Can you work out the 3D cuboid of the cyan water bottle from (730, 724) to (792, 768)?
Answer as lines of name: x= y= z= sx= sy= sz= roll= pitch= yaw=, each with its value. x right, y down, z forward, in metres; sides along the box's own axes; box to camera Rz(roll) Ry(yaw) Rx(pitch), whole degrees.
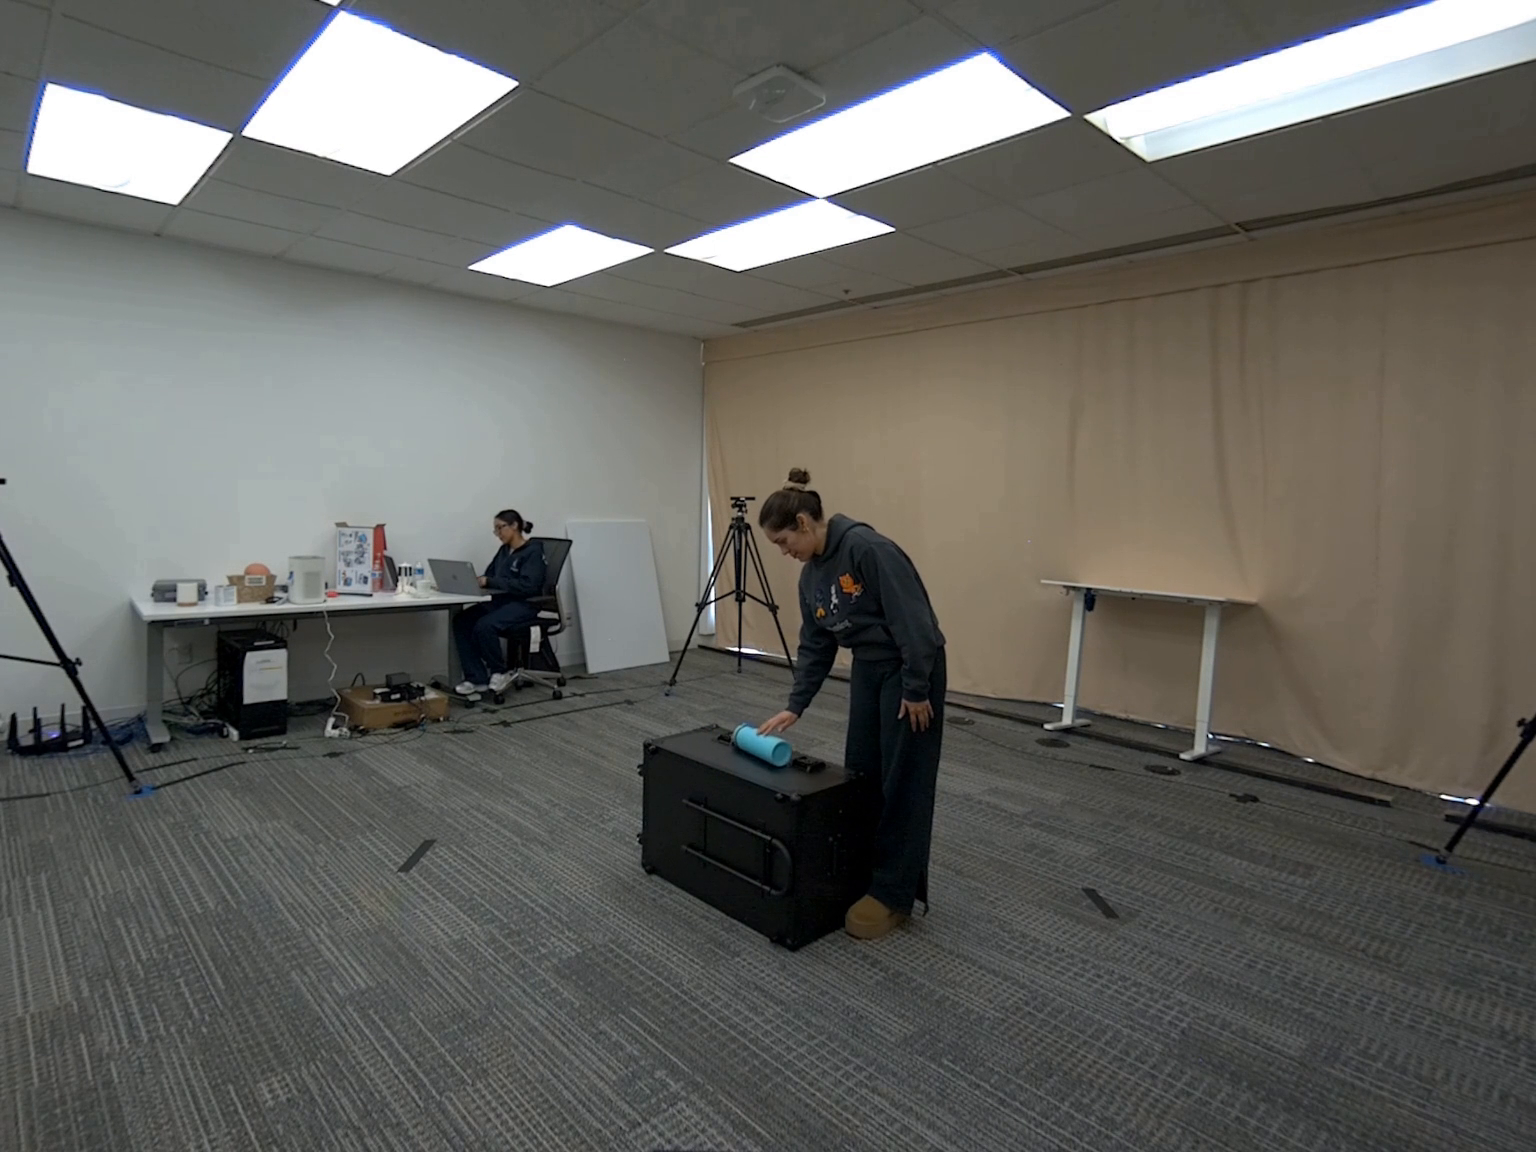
cyan water bottle: x=-0.038 y=0.587 z=2.987 sx=0.090 sy=0.092 sz=0.290 roll=-2 pitch=5 yaw=-33
